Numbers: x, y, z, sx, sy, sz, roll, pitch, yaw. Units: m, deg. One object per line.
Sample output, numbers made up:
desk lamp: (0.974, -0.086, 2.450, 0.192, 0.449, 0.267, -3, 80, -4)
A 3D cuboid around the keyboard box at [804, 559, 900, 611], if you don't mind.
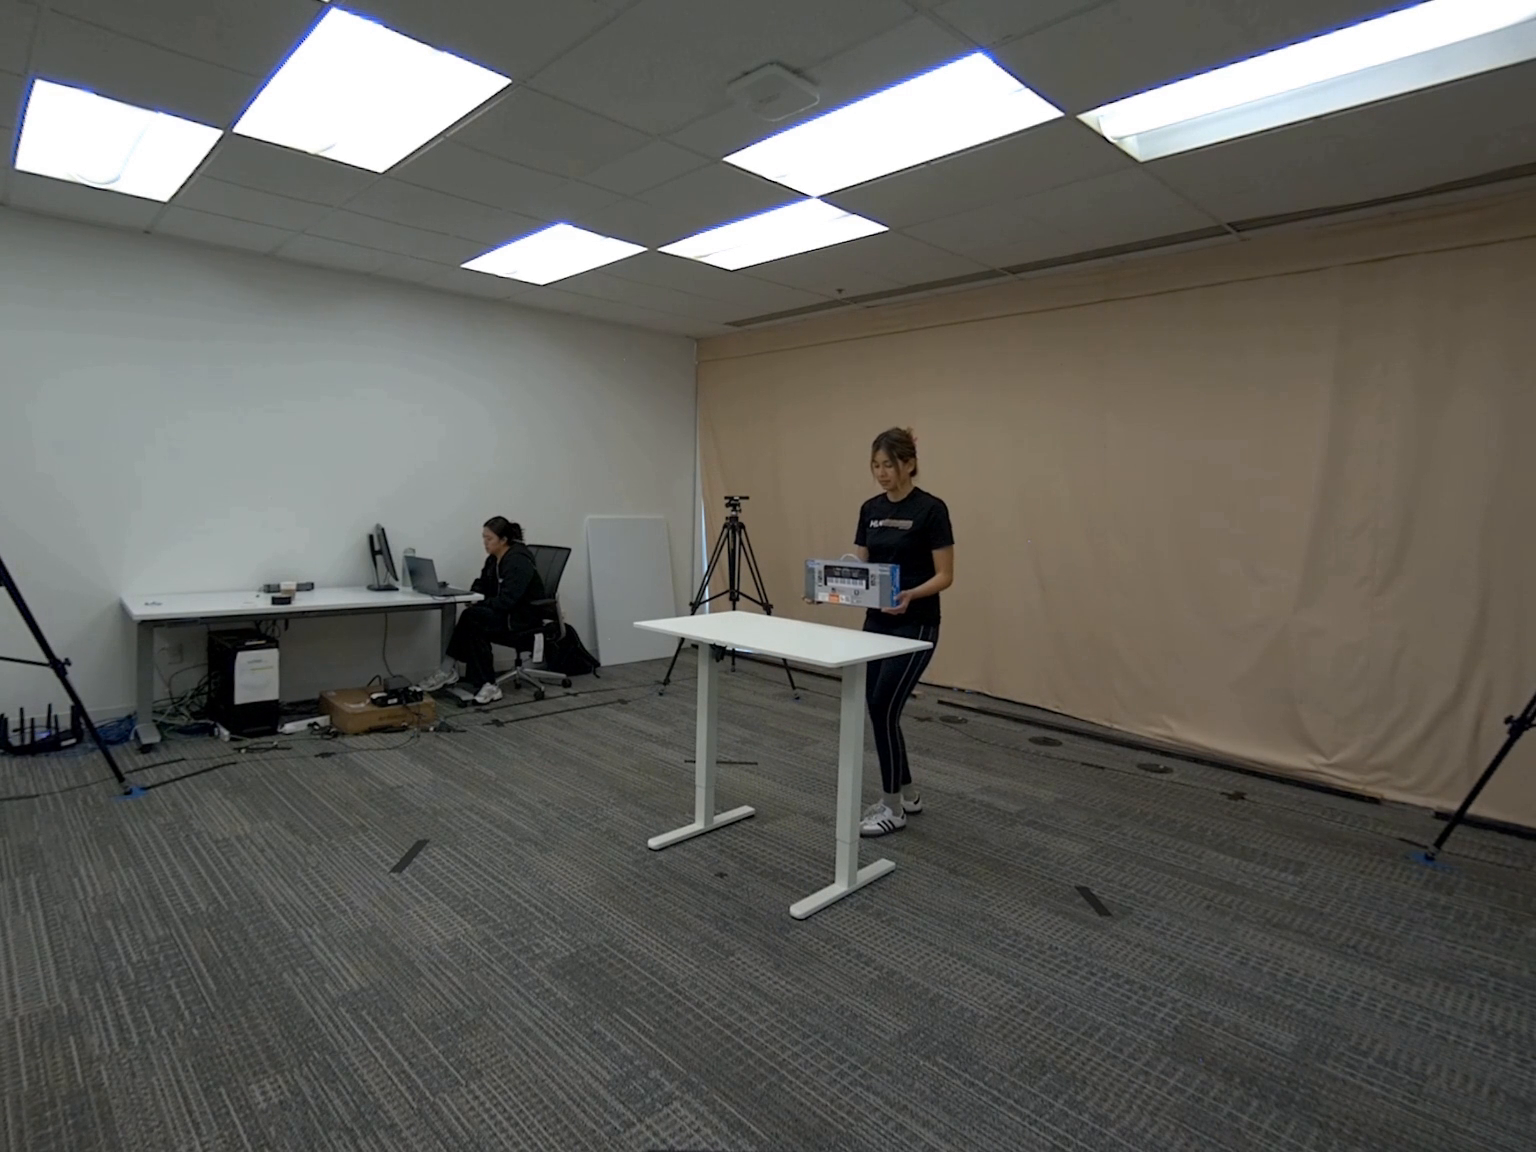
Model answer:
keyboard box: (0.328, 0.030, 3.405, 0.448, 0.175, 0.058, 5, 6, 44)
